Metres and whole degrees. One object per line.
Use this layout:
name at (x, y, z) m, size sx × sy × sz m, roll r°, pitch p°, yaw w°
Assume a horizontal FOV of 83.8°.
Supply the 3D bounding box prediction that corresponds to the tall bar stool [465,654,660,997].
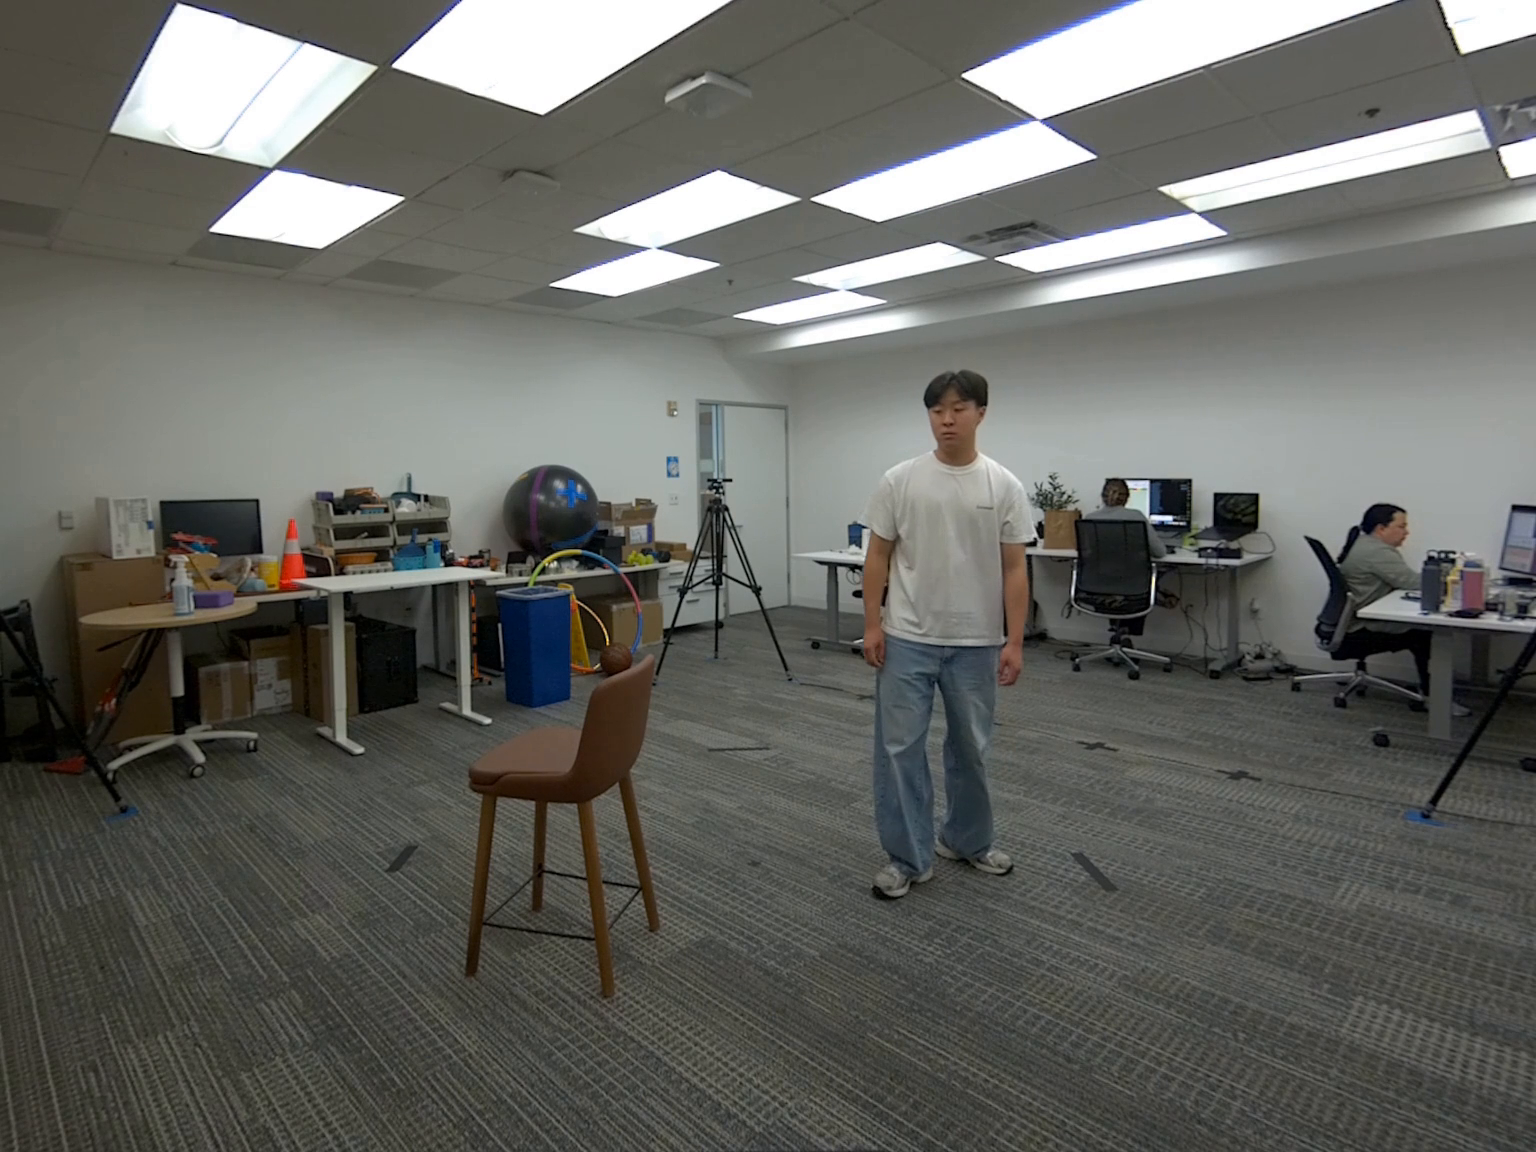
tall bar stool at (-0.597, 0.689, 2.526) m, size 0.475 × 0.885 × 0.451 m, roll 2°, pitch 6°, yaw 16°
